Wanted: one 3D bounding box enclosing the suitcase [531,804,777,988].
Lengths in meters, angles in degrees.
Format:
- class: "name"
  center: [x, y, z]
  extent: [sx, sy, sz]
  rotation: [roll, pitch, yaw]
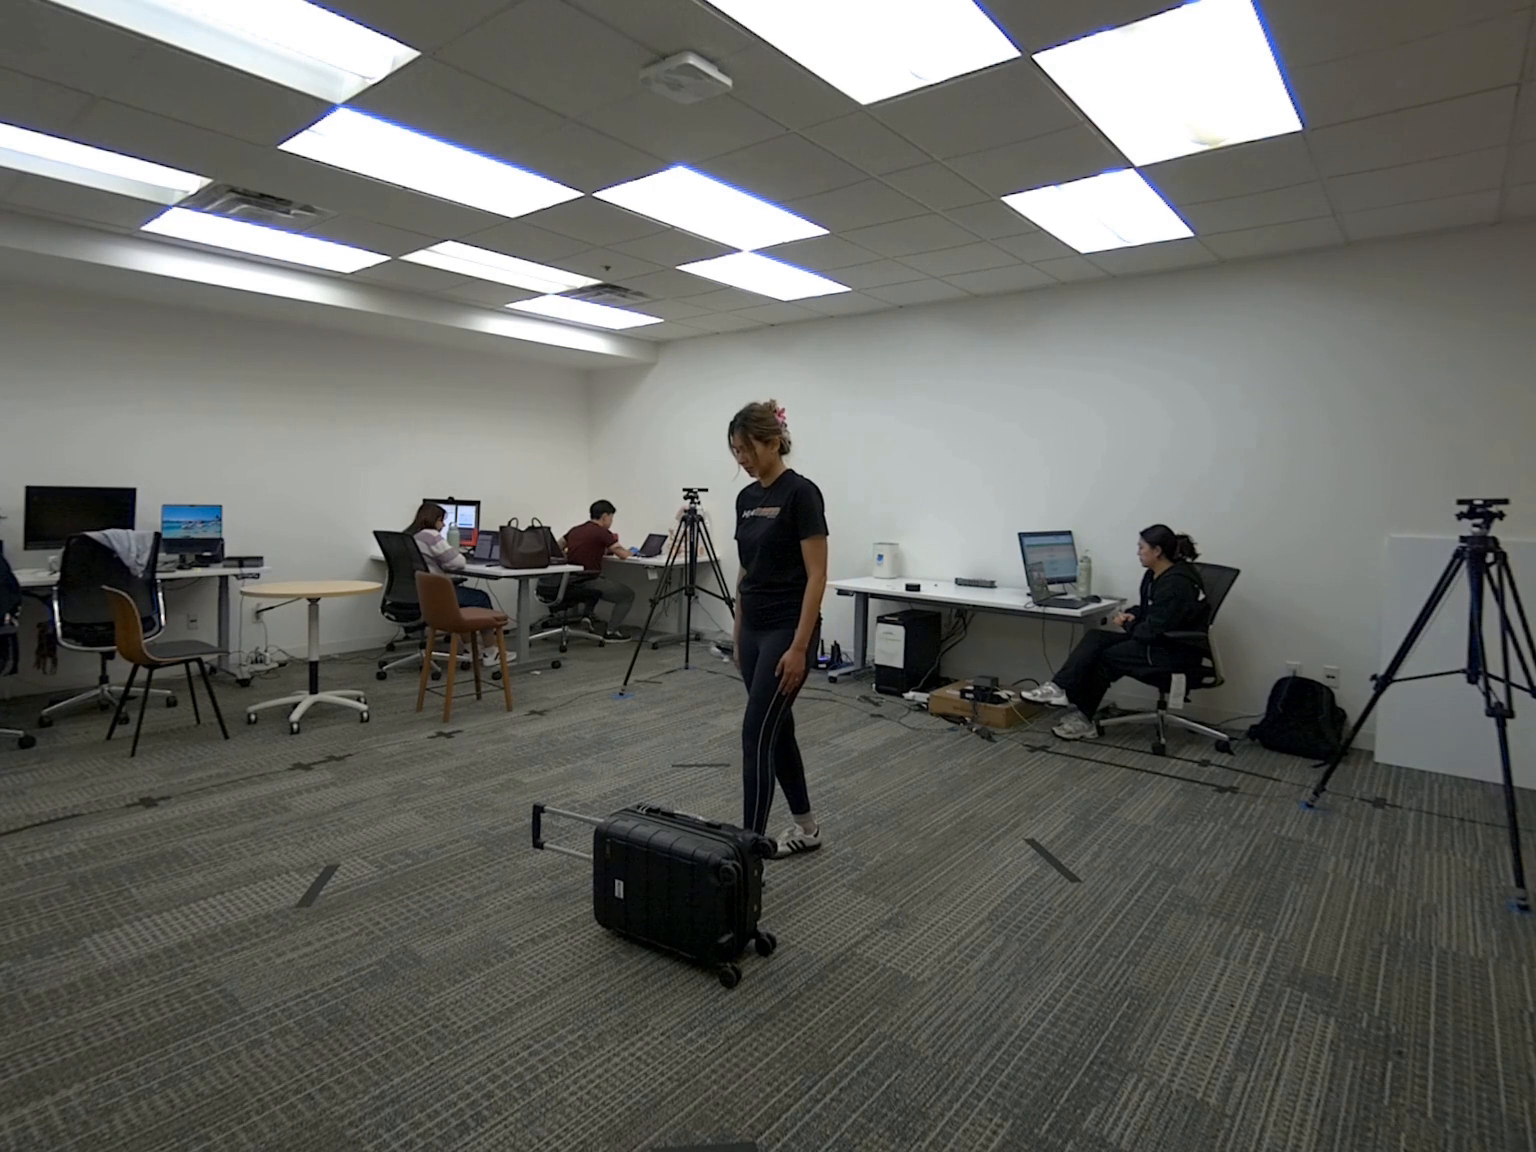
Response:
- class: "suitcase"
  center: [-0.461, 0.917, 2.701]
  extent: [1.008, 0.383, 0.250]
  rotation: [4, 4, 31]
